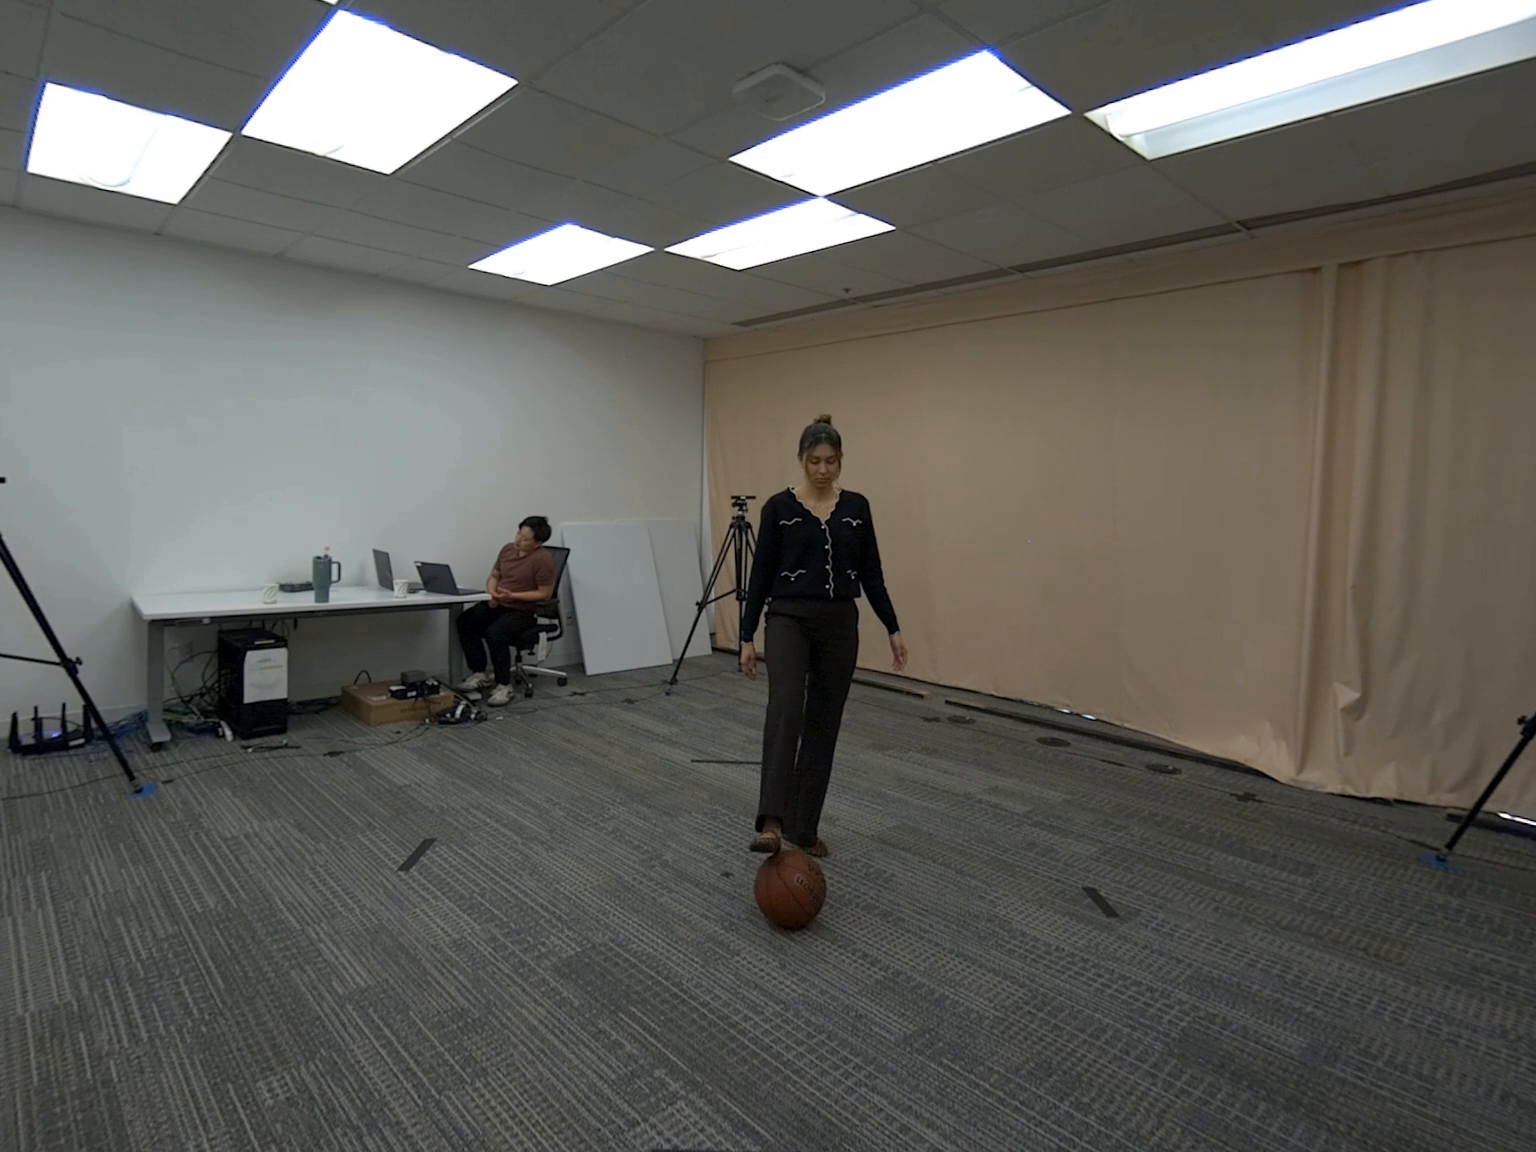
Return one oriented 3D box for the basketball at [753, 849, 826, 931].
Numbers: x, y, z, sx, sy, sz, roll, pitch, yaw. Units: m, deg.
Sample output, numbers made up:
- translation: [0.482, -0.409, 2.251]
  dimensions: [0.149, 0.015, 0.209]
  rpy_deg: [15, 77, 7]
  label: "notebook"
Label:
- translation: [0.074, 1.021, 2.761]
  dimensions: [0.236, 0.235, 0.237]
  rpy_deg: [1, 4, -1]
  label: "basketball"
